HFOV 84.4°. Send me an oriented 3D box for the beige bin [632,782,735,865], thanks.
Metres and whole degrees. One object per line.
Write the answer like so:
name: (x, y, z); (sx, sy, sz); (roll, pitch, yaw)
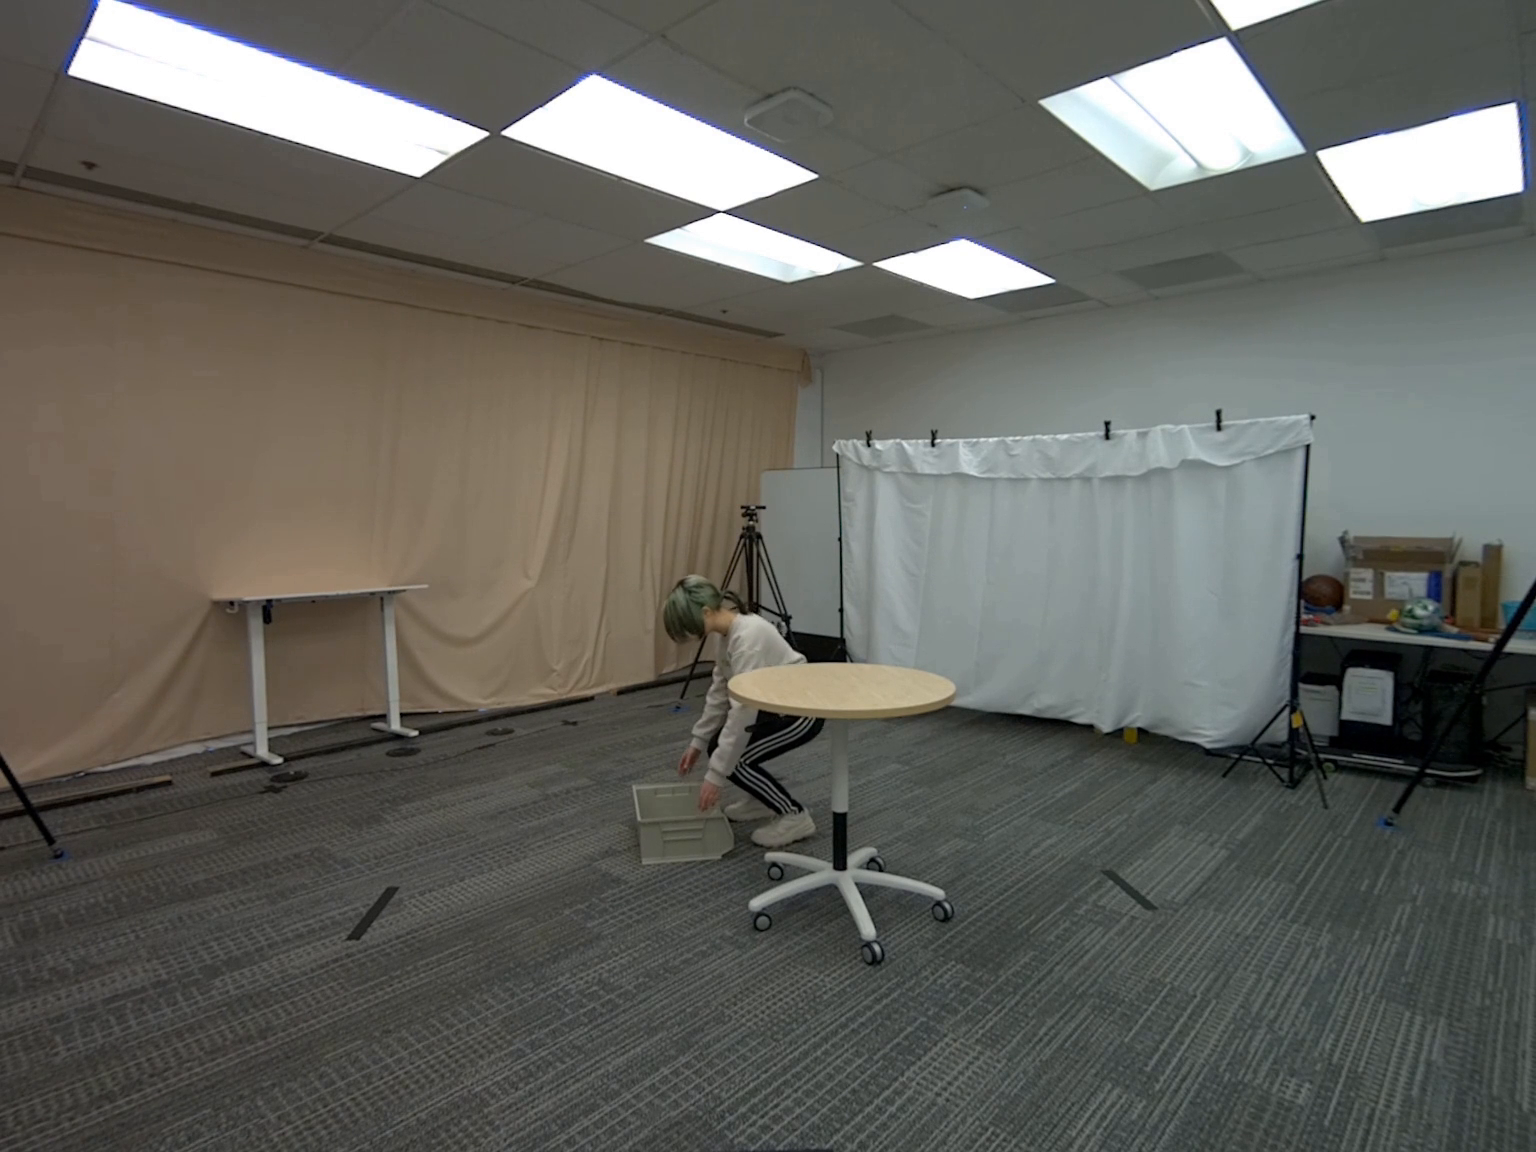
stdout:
beige bin: (-0.362, 1.014, 3.502); (0.373, 0.188, 0.428); (-3, 5, -11)
